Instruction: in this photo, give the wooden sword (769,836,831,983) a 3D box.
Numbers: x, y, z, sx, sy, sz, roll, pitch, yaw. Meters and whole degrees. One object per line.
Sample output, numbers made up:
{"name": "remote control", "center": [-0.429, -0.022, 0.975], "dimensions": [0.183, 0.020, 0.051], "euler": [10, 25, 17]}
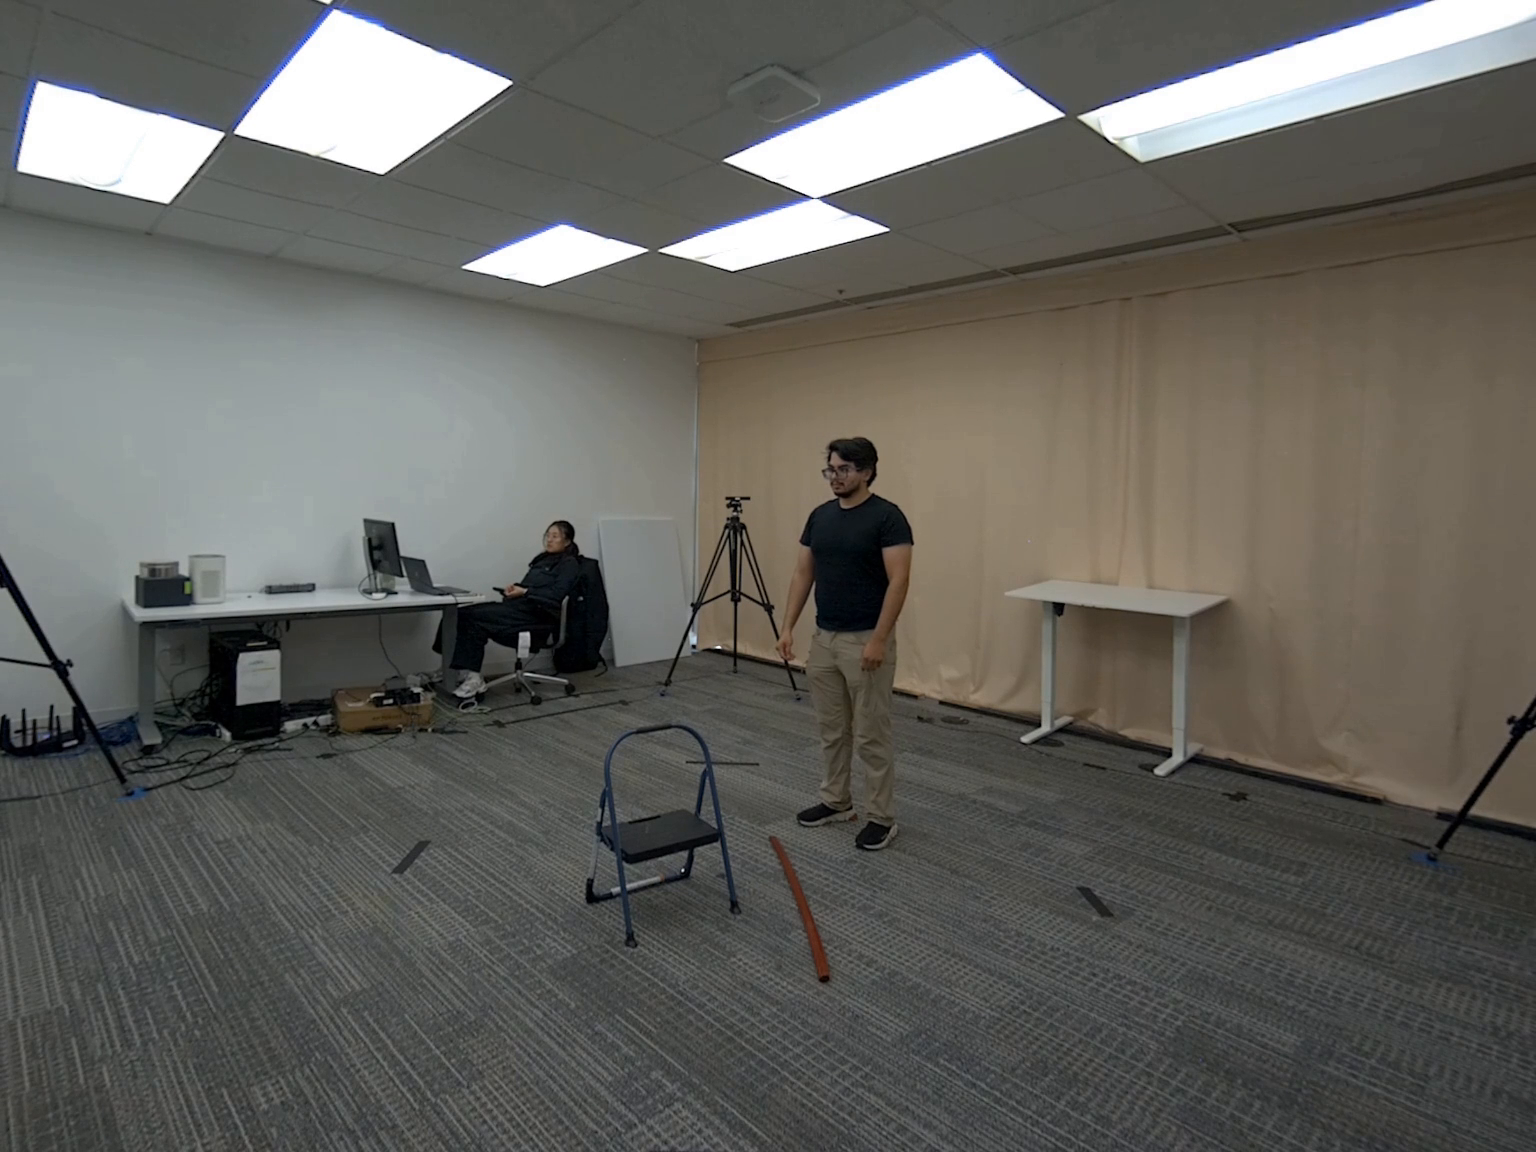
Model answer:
{"name": "wooden sword", "center": [0.090, 1.101, 2.944], "dimensions": [0.024, 0.051, 1.033], "euler": [15, 3, -9]}
